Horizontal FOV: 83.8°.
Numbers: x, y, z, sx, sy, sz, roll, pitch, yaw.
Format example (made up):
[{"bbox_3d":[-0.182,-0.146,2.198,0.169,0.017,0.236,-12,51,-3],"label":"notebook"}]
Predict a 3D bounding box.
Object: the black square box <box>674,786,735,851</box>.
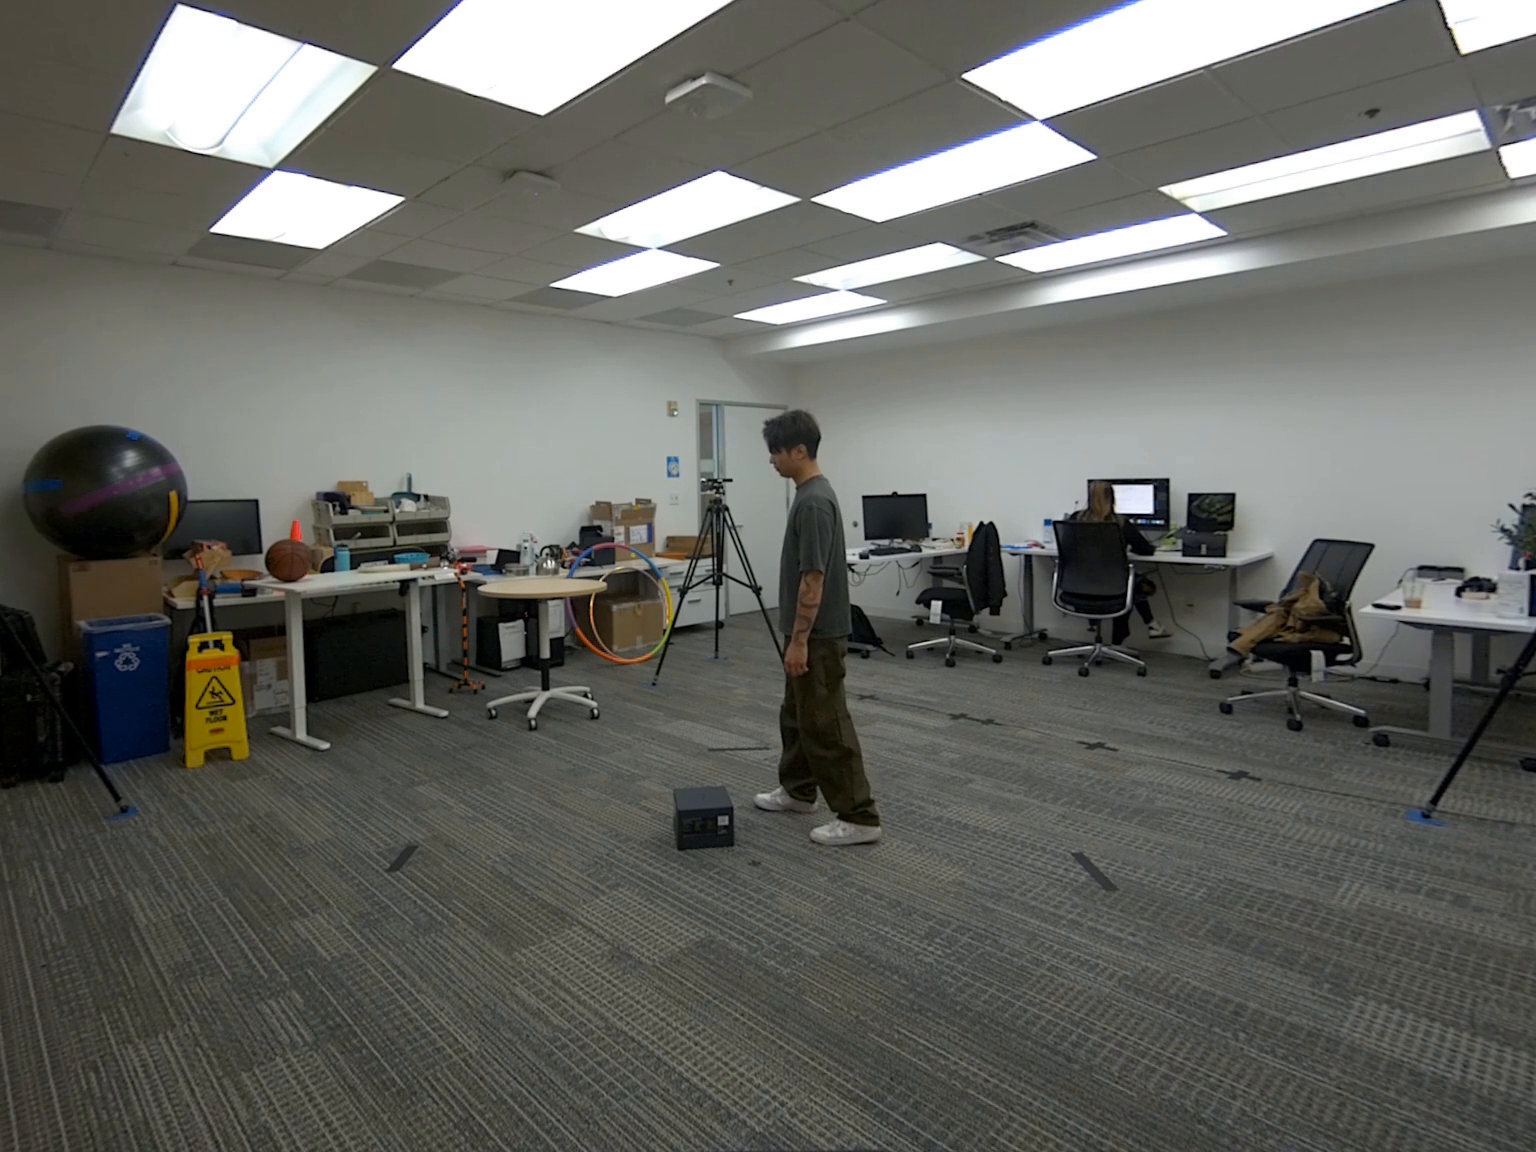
[{"bbox_3d":[-0.256,0.933,3.342,0.215,0.155,0.231,-2,6,-10],"label":"black square box"}]
